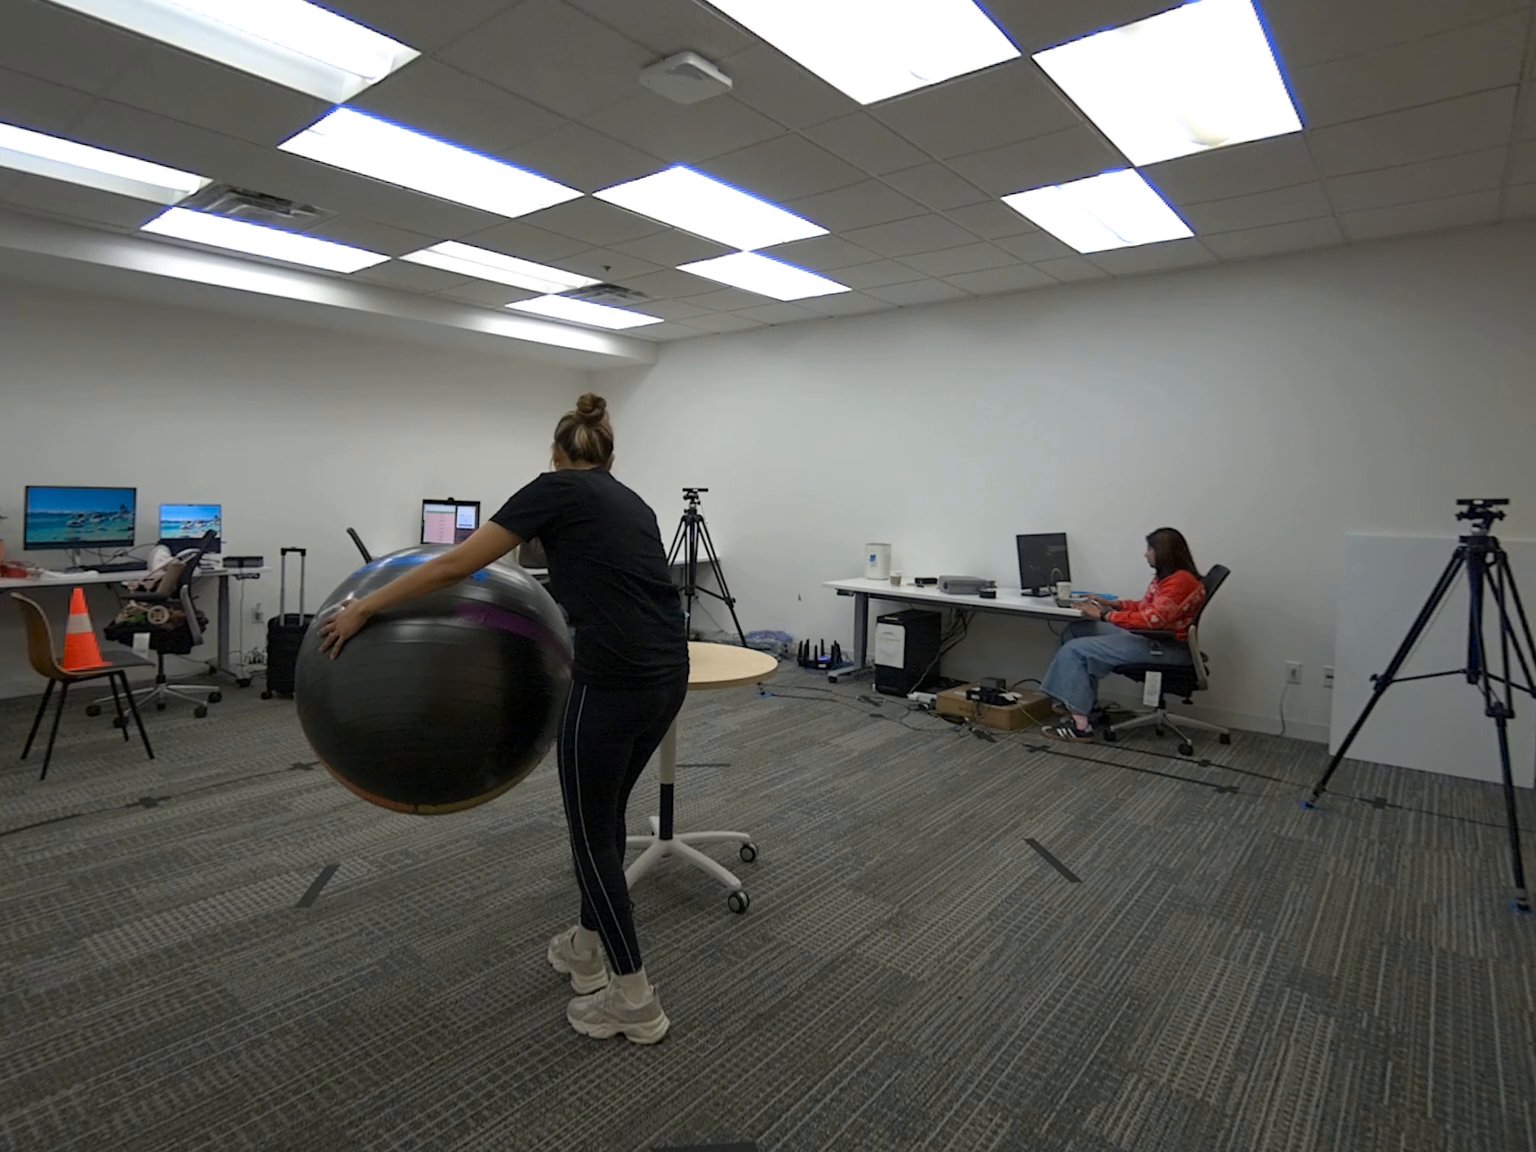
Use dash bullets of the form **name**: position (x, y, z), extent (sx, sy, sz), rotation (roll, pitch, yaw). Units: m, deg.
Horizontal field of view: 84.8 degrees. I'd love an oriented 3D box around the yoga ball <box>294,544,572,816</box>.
- **yoga ball**: position (-0.953, 0.298, 2.431), extent (0.757, 0.756, 0.761), rotation (1, 4, -2)
